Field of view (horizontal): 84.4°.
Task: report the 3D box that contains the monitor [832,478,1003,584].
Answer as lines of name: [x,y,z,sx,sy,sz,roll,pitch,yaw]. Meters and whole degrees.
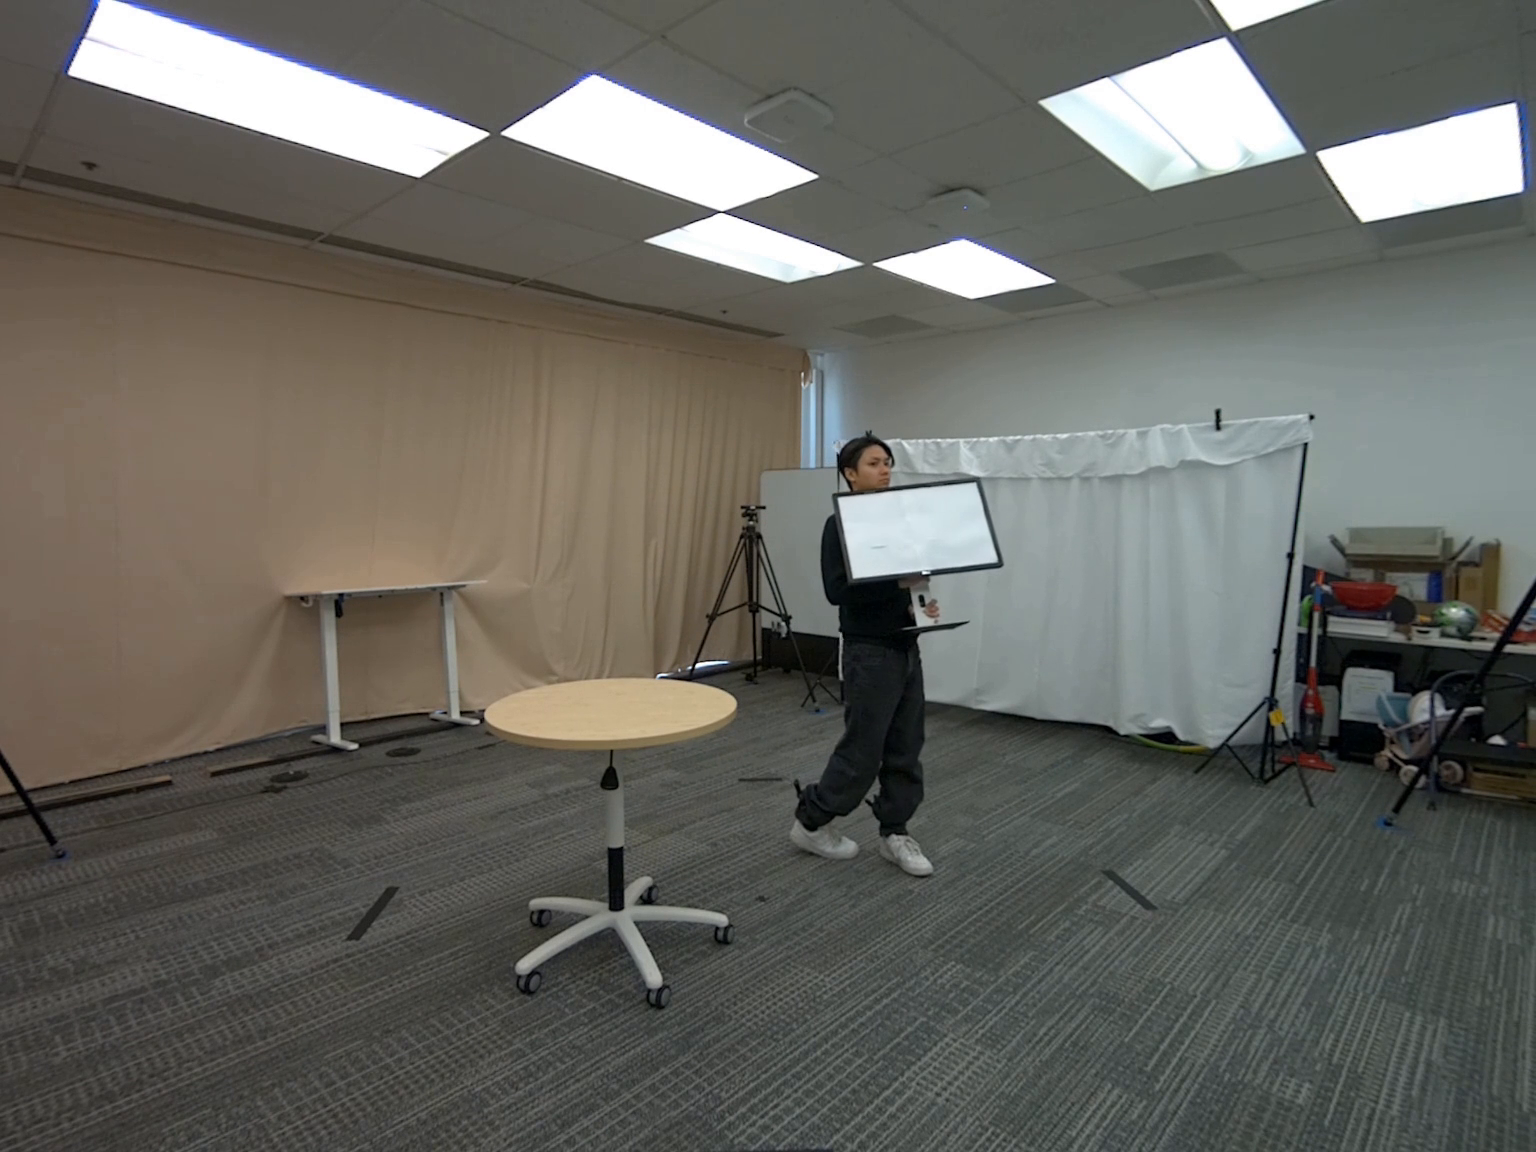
monitor: [0.558,-0.067,3.082,0.529,0.518,0.174,-7,-6,-2]
